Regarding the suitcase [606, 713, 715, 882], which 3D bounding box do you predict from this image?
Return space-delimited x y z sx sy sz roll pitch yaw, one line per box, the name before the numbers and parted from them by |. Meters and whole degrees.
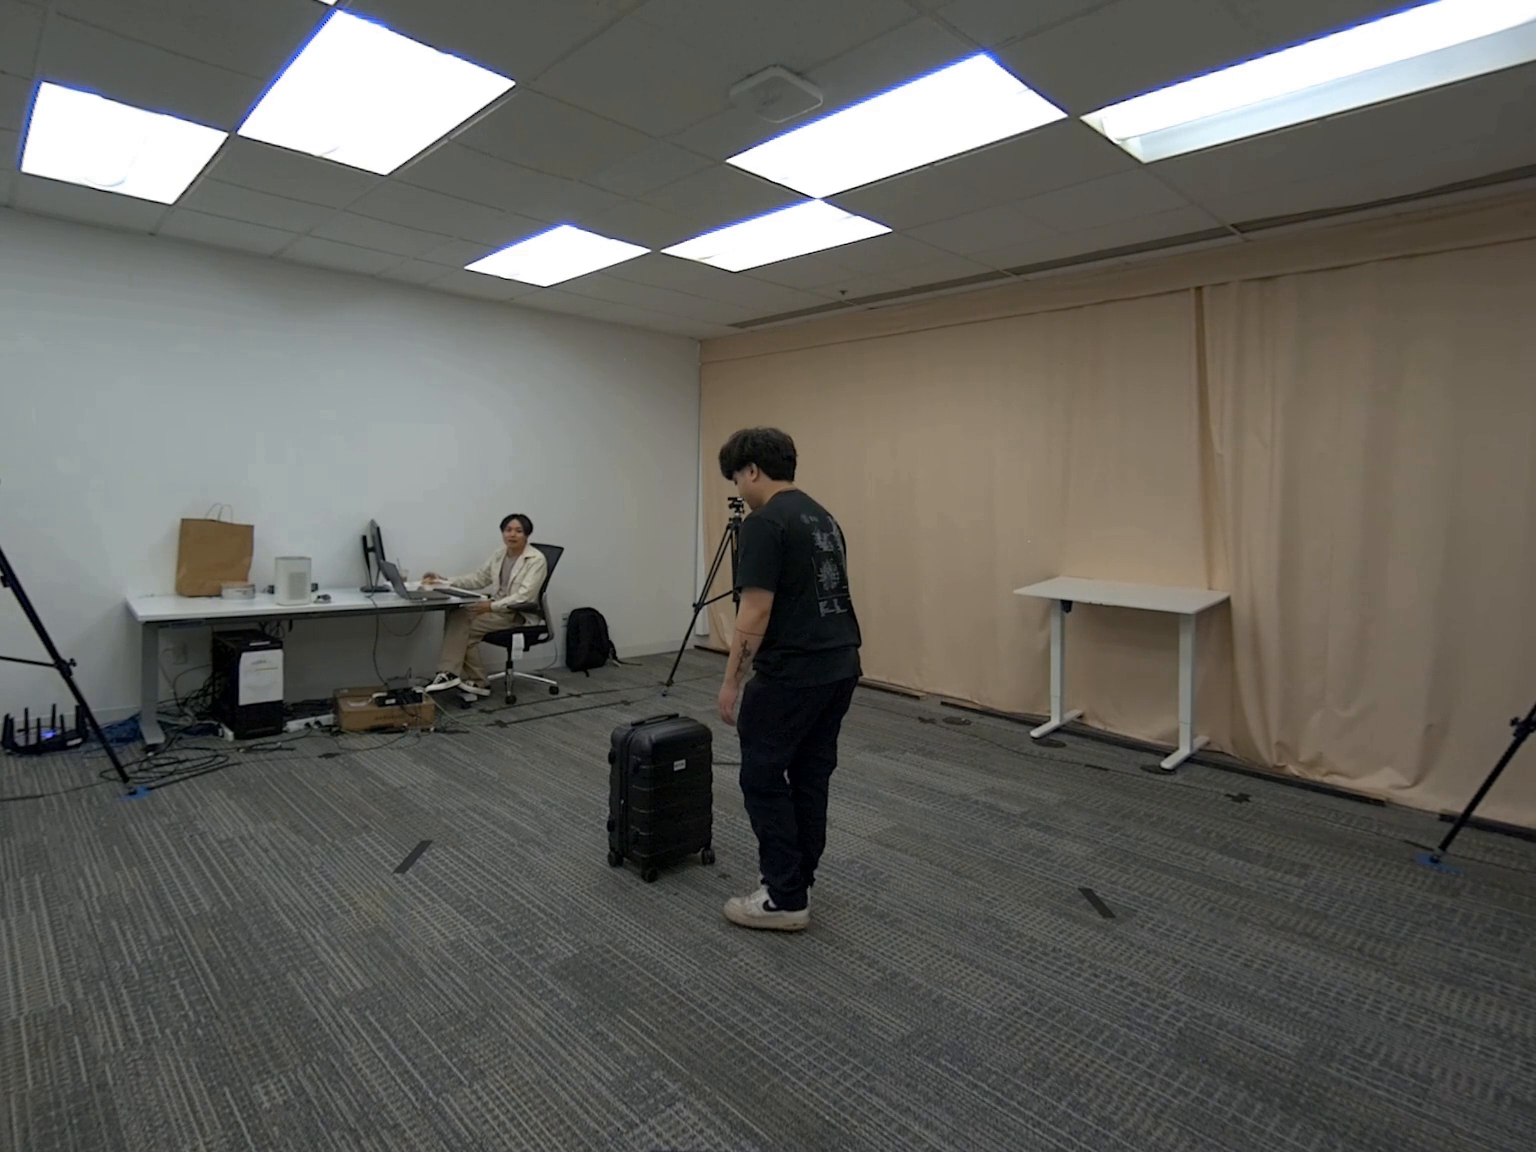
suitcase | -0.409 0.817 3.198 0.367 0.548 0.254 -2 3 -43
